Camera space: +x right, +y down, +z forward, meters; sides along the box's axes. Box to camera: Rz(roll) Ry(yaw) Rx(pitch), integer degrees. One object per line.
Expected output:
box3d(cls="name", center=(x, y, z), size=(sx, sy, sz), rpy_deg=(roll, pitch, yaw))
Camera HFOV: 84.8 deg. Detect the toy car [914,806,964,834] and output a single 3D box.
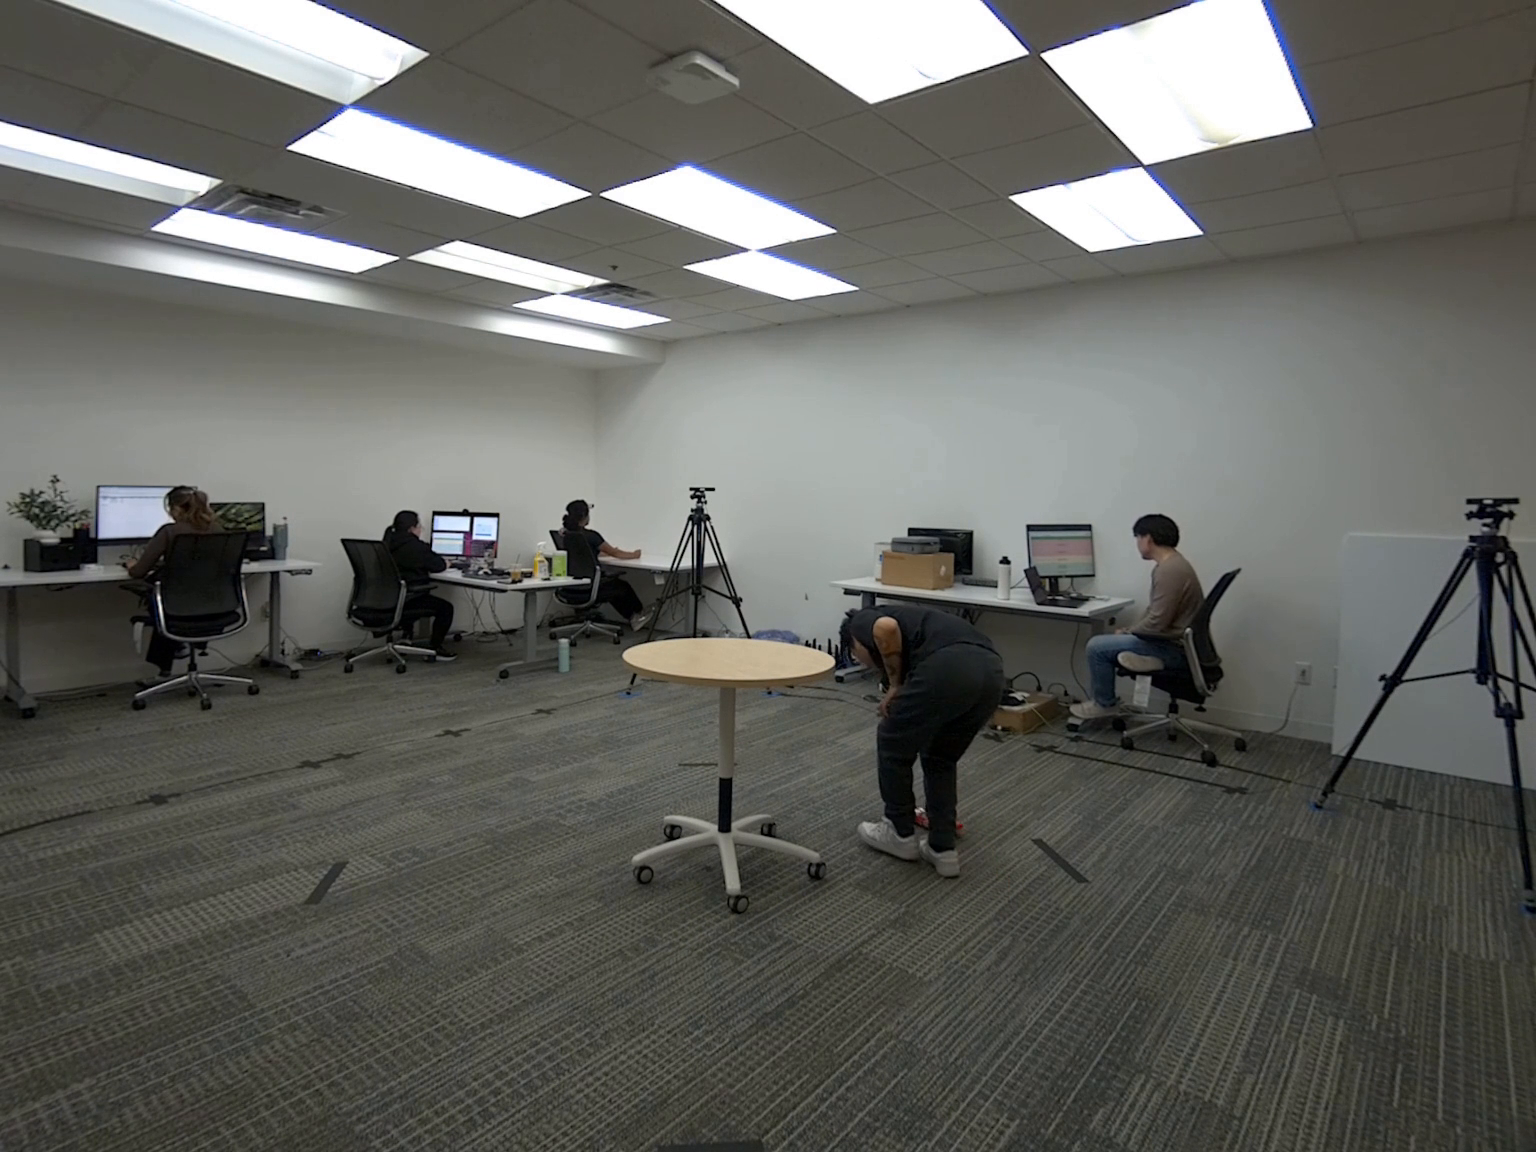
box3d(cls="toy car", center=(0.681, 1.010, 3.531), size=(0.126, 0.083, 0.260), rpy_deg=(-1, -4, -34))
